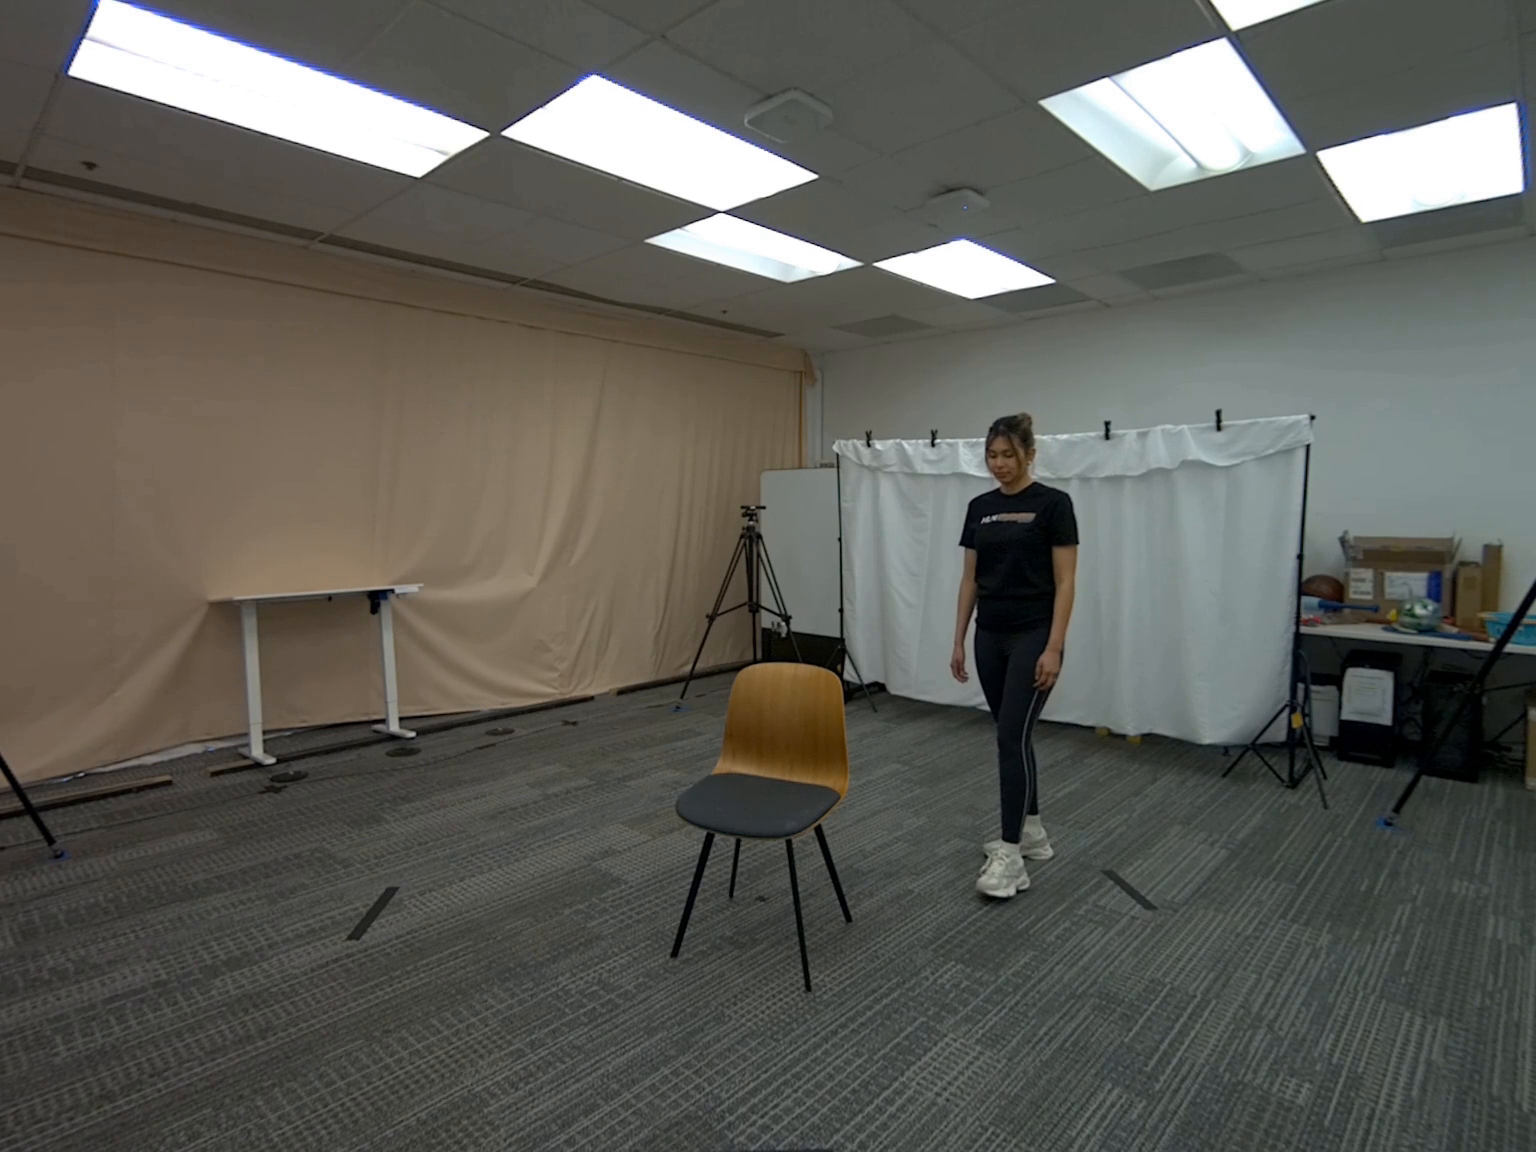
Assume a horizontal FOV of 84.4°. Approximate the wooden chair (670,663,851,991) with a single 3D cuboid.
[{"bbox_3d":[-0.005,0.741,2.670,0.490,0.878,0.510,2,-1,24],"label":"wooden chair"}]
